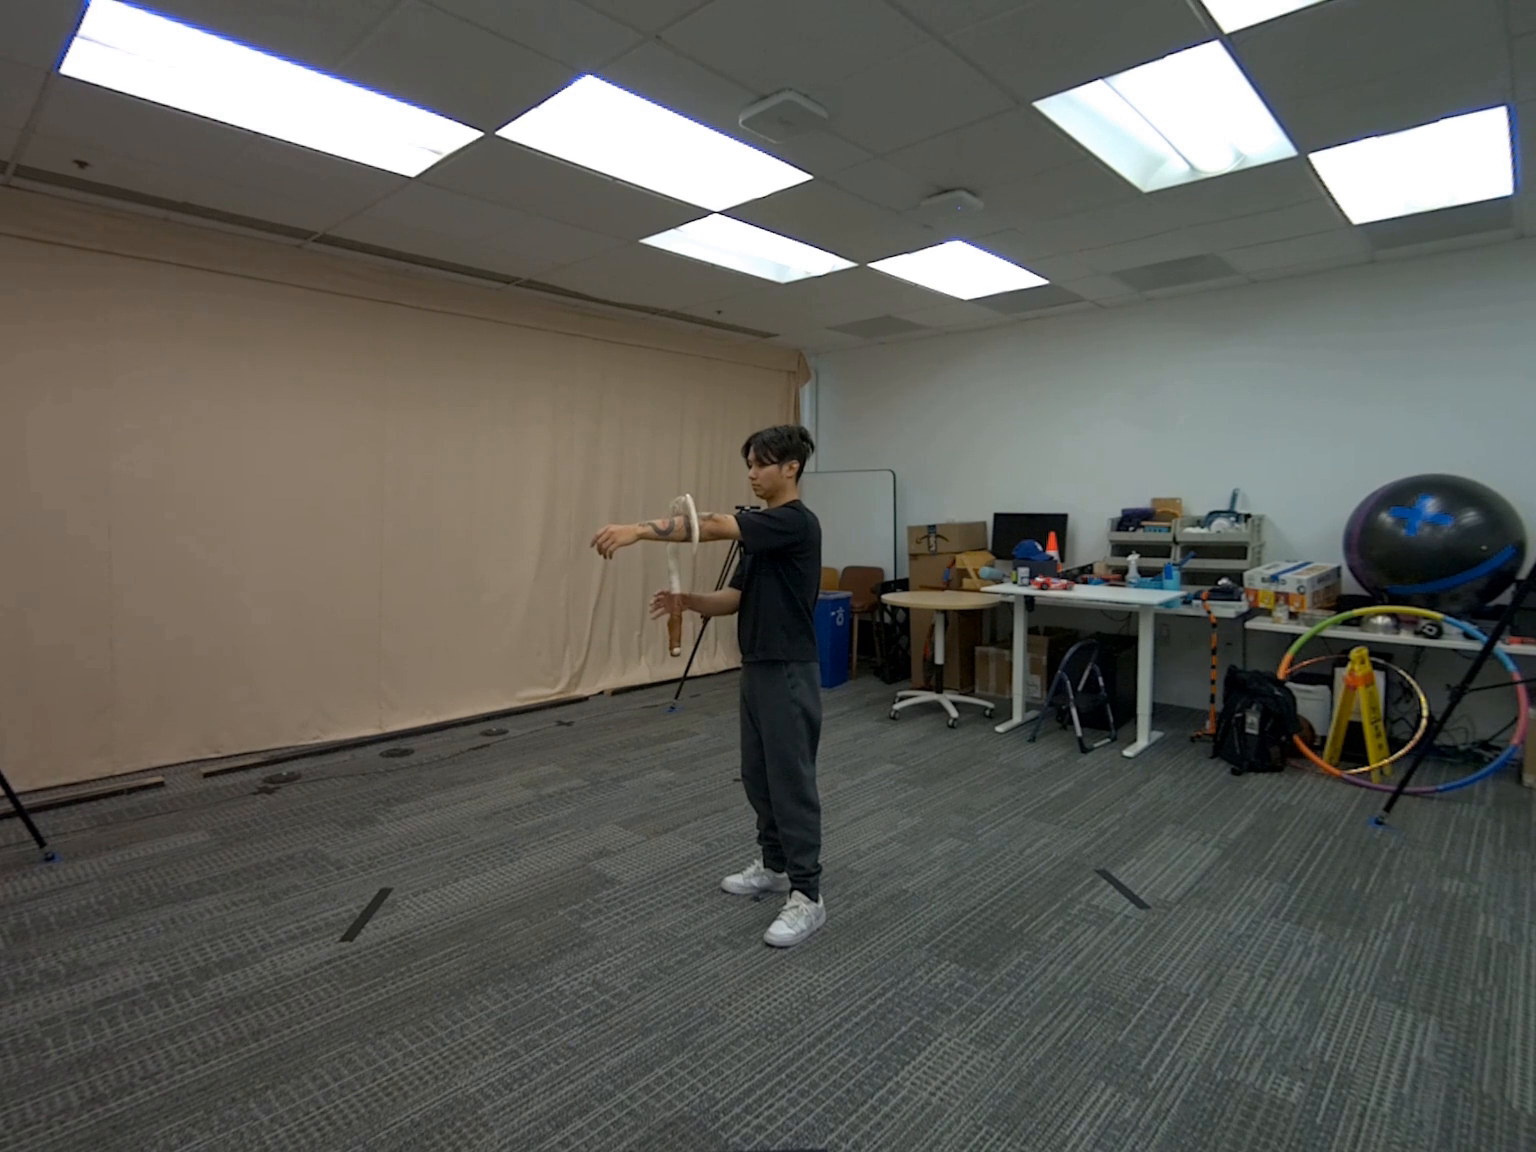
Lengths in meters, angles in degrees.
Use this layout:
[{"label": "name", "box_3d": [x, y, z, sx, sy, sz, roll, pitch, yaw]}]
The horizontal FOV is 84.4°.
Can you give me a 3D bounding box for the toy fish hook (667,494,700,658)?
[{"label": "toy fish hook", "box_3d": [-0.265, 0.004, 2.637, 0.047, 0.508, 0.229, 1, -3, -24]}]
